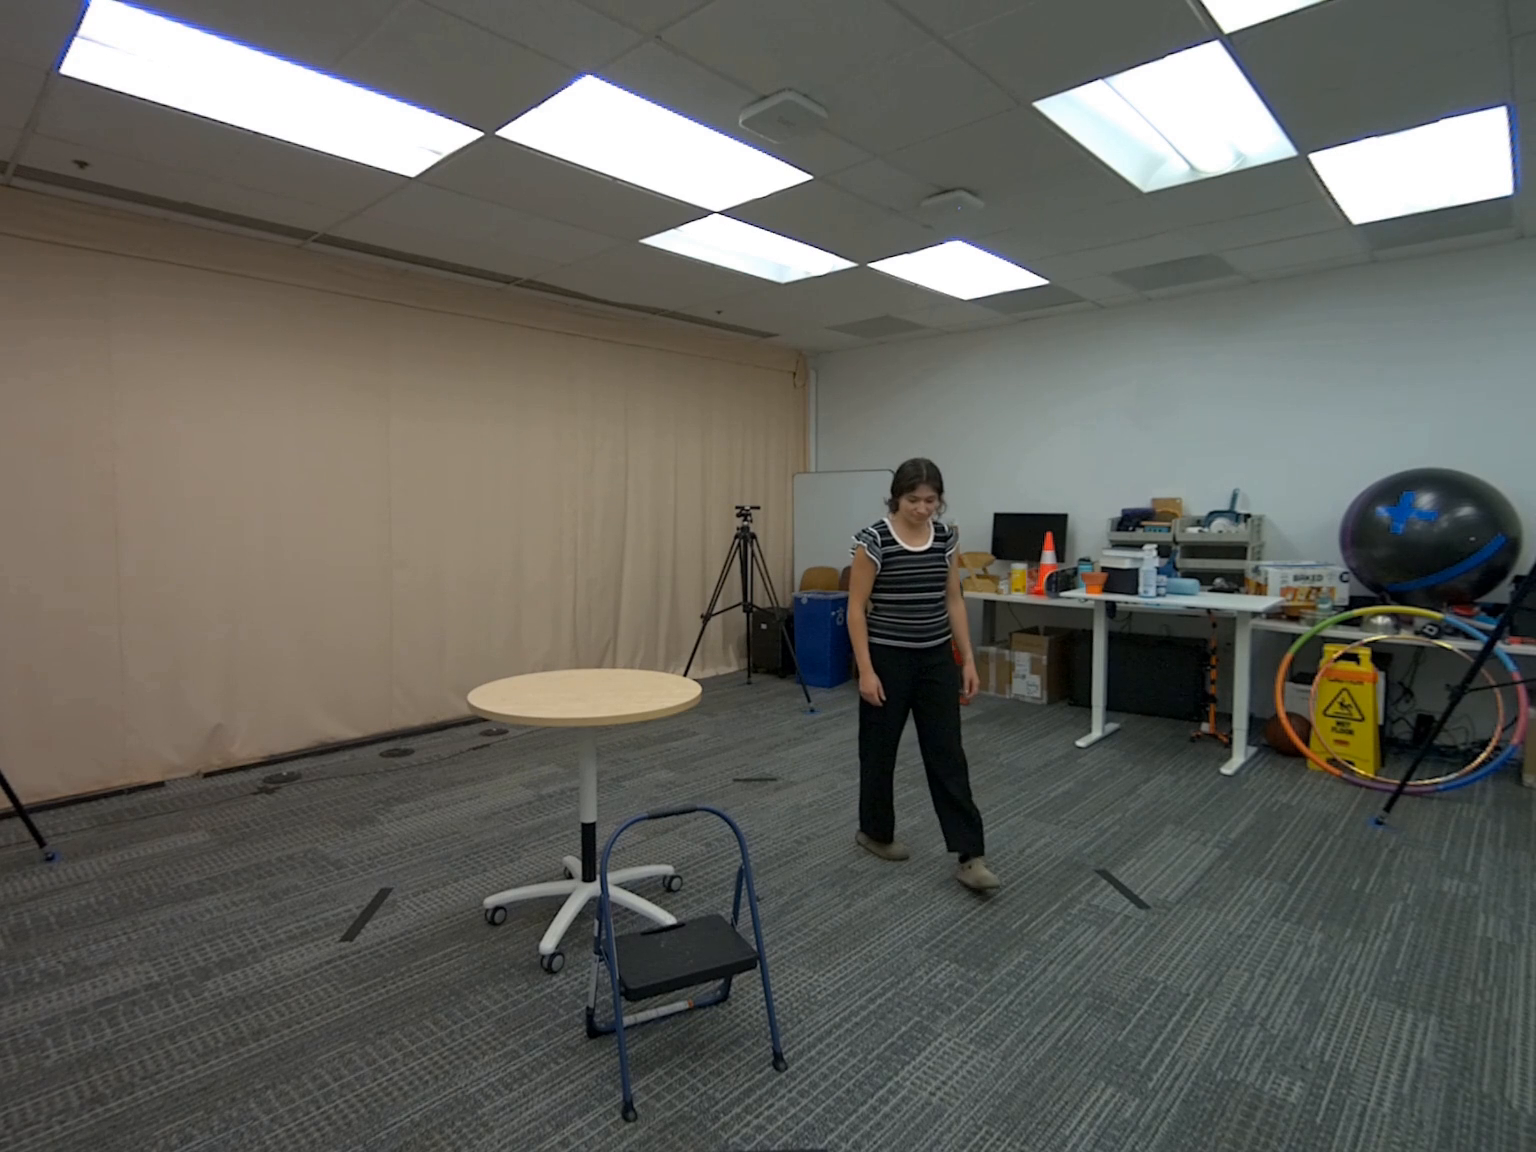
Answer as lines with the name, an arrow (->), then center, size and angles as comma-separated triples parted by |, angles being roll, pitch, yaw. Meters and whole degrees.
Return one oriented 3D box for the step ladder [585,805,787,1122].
step ladder -> -0.214, 0.914, 2.133 | 0.420, 0.605, 0.359 | -1, 3, -28
